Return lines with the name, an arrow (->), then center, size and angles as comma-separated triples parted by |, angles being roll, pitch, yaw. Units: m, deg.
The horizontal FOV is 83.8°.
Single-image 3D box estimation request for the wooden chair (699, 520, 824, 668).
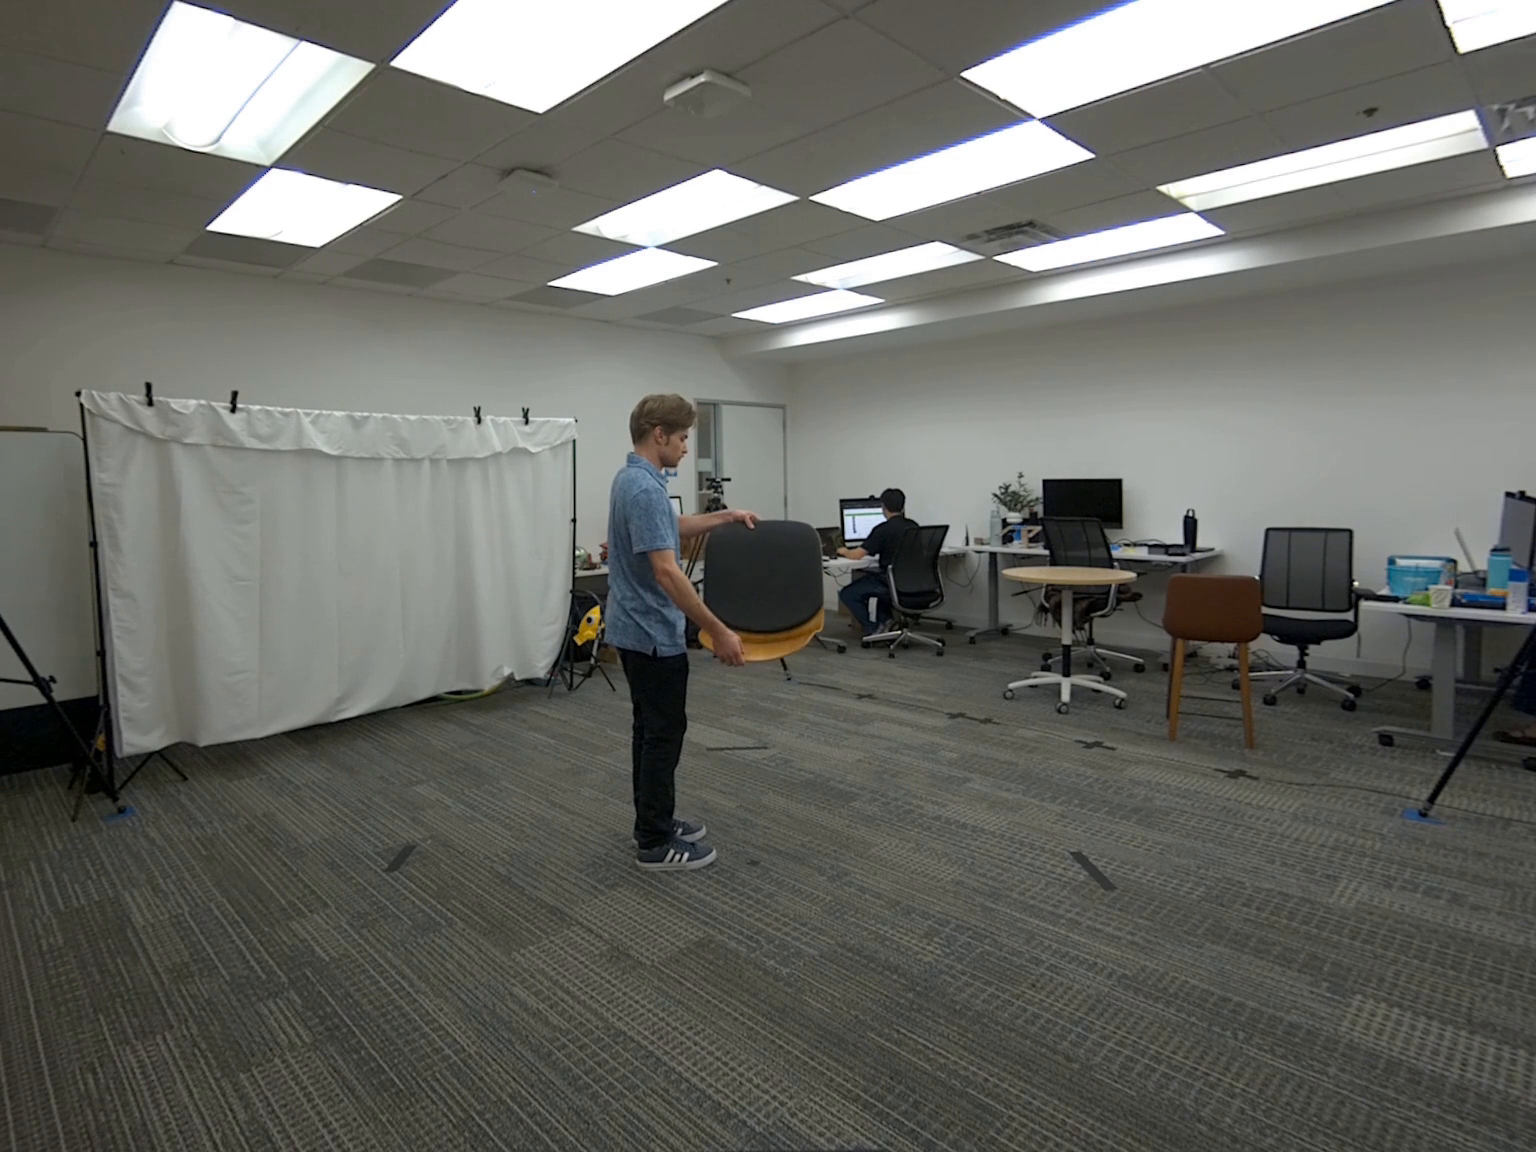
wooden chair -> -0.020, 0.047, 3.358 | 0.482, 0.526, 0.866 | -1, -5, 7
